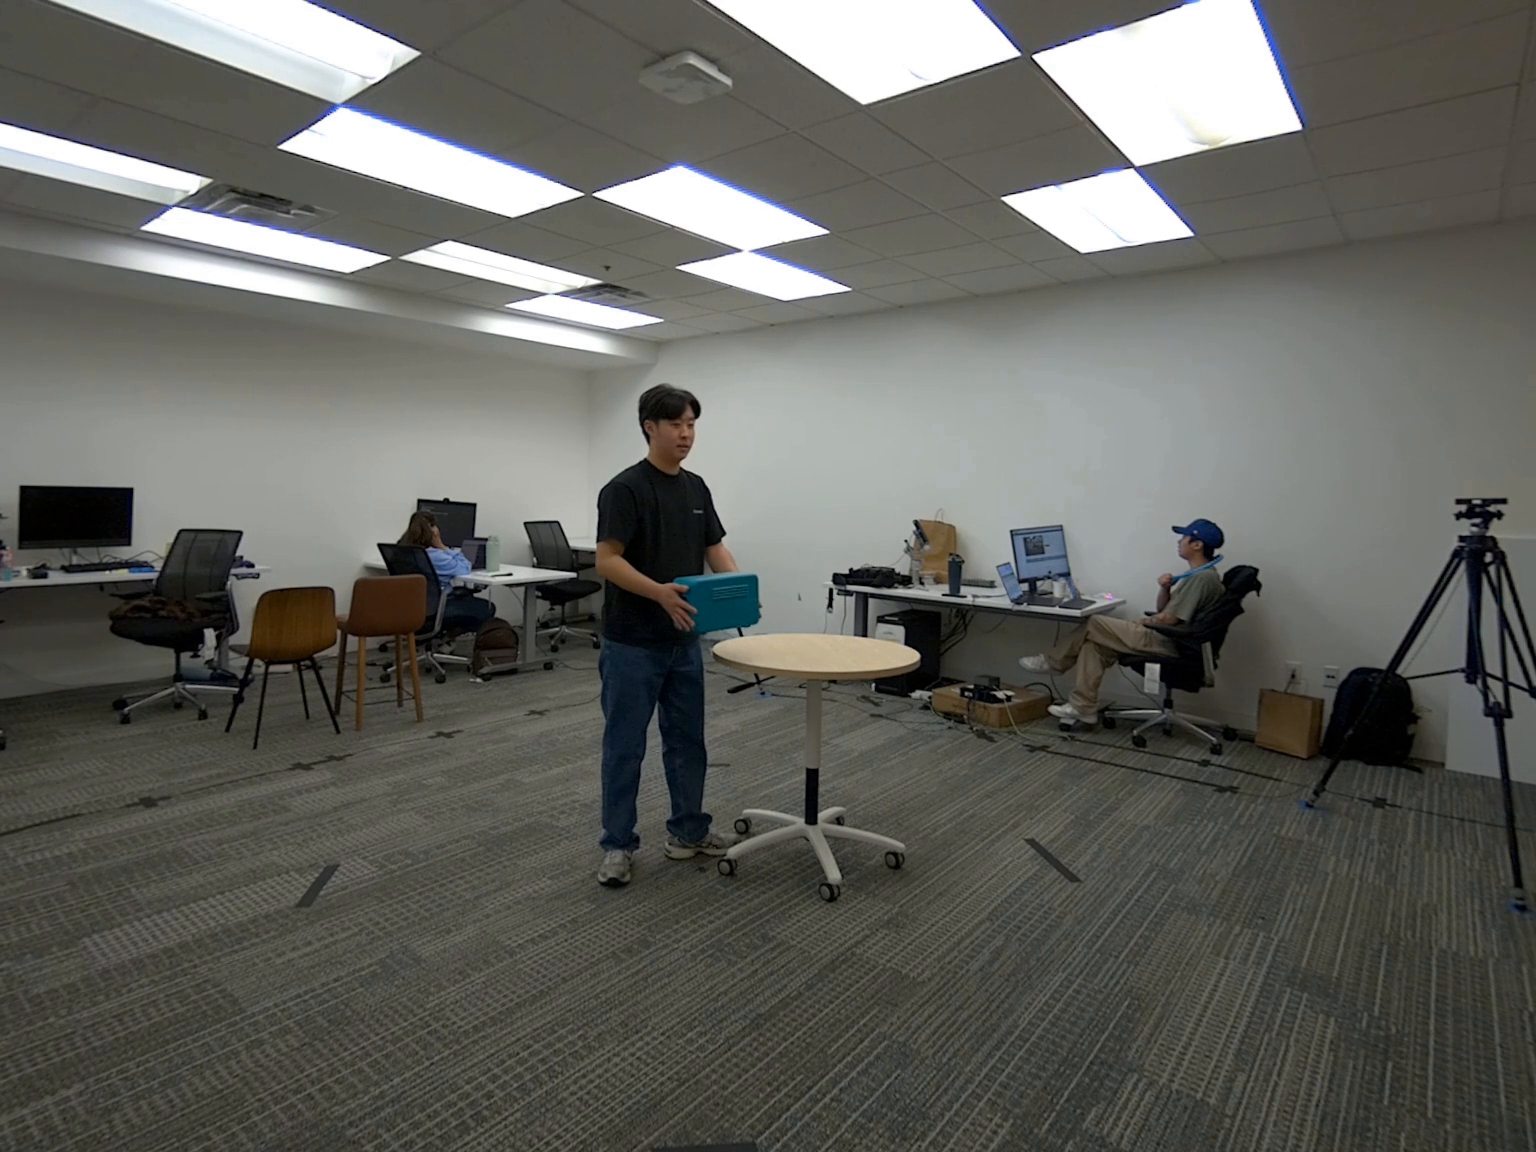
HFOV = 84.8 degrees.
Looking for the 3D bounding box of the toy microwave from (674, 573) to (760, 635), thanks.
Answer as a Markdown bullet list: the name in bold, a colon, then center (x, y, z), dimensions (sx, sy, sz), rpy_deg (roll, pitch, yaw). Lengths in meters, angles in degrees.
- **toy microwave**: center (-0.198, 0.086, 2.876), dimensions (0.278, 0.183, 0.157), rpy_deg (-5, 6, -39)
